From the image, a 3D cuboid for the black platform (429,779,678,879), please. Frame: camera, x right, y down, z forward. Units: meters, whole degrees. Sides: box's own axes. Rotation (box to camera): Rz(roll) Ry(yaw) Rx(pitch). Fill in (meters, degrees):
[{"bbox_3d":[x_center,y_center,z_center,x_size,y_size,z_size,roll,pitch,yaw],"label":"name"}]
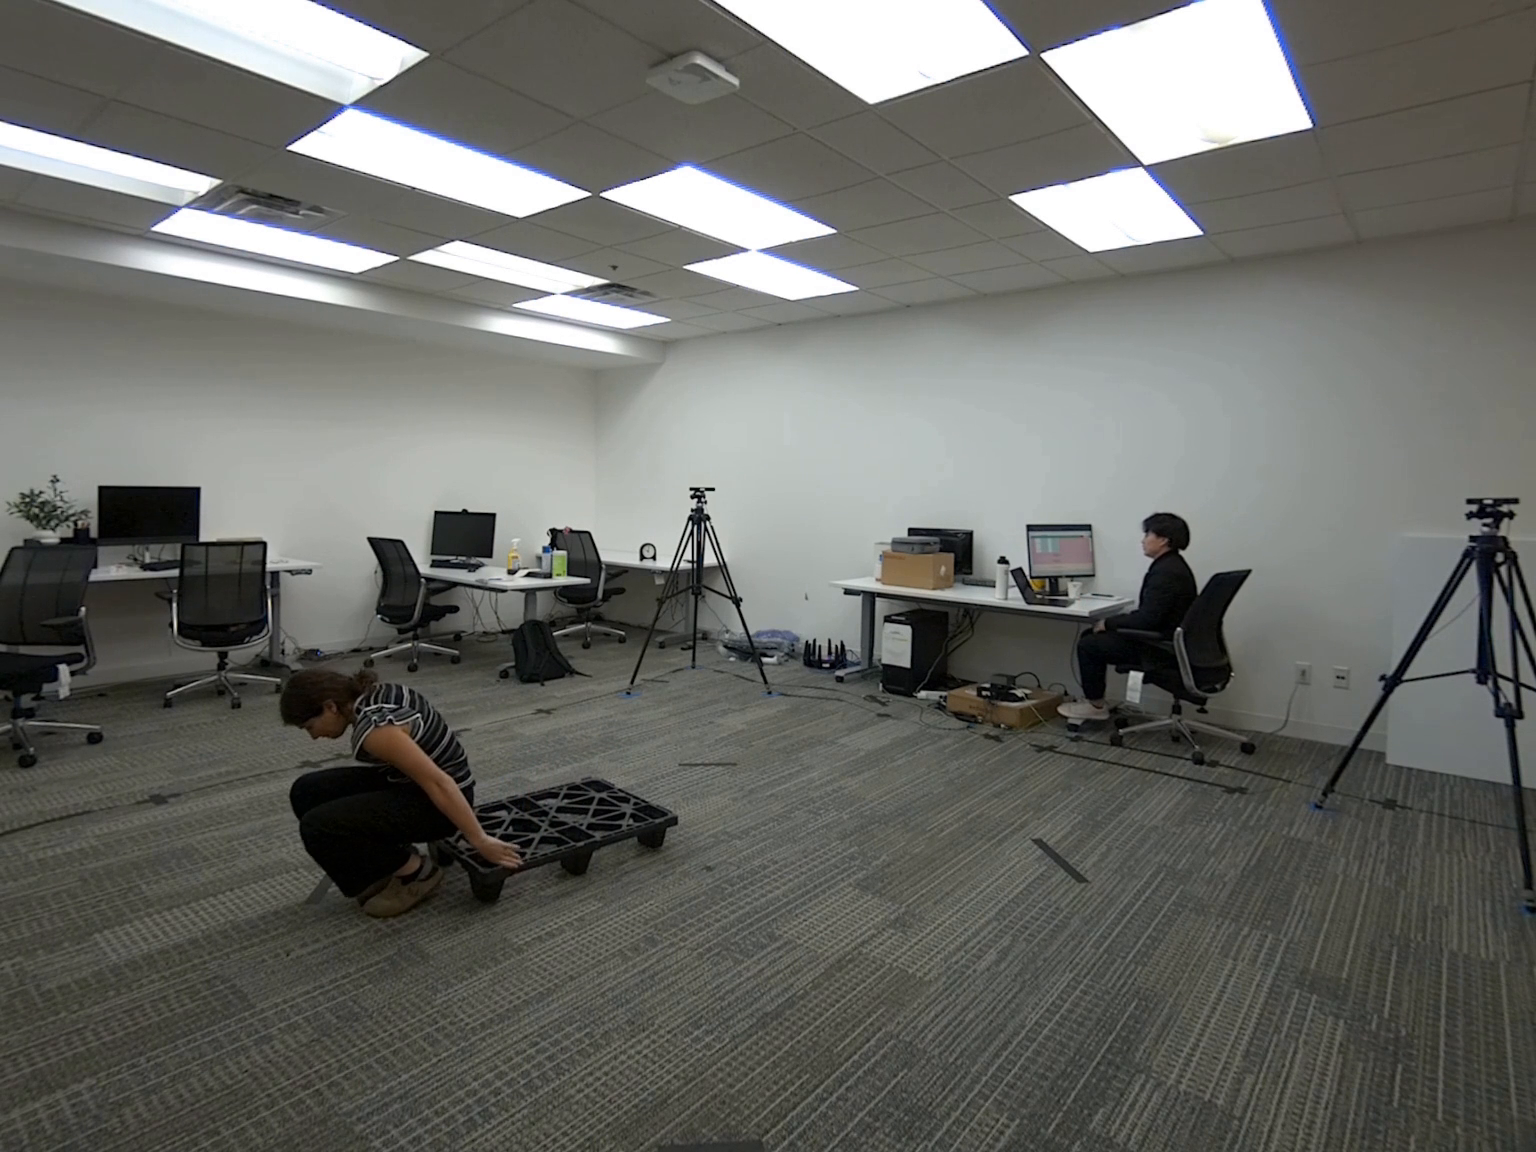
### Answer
[{"bbox_3d":[-0.844,0.975,3.218,0.781,0.143,0.625,-4,6,-42],"label":"black platform"}]
